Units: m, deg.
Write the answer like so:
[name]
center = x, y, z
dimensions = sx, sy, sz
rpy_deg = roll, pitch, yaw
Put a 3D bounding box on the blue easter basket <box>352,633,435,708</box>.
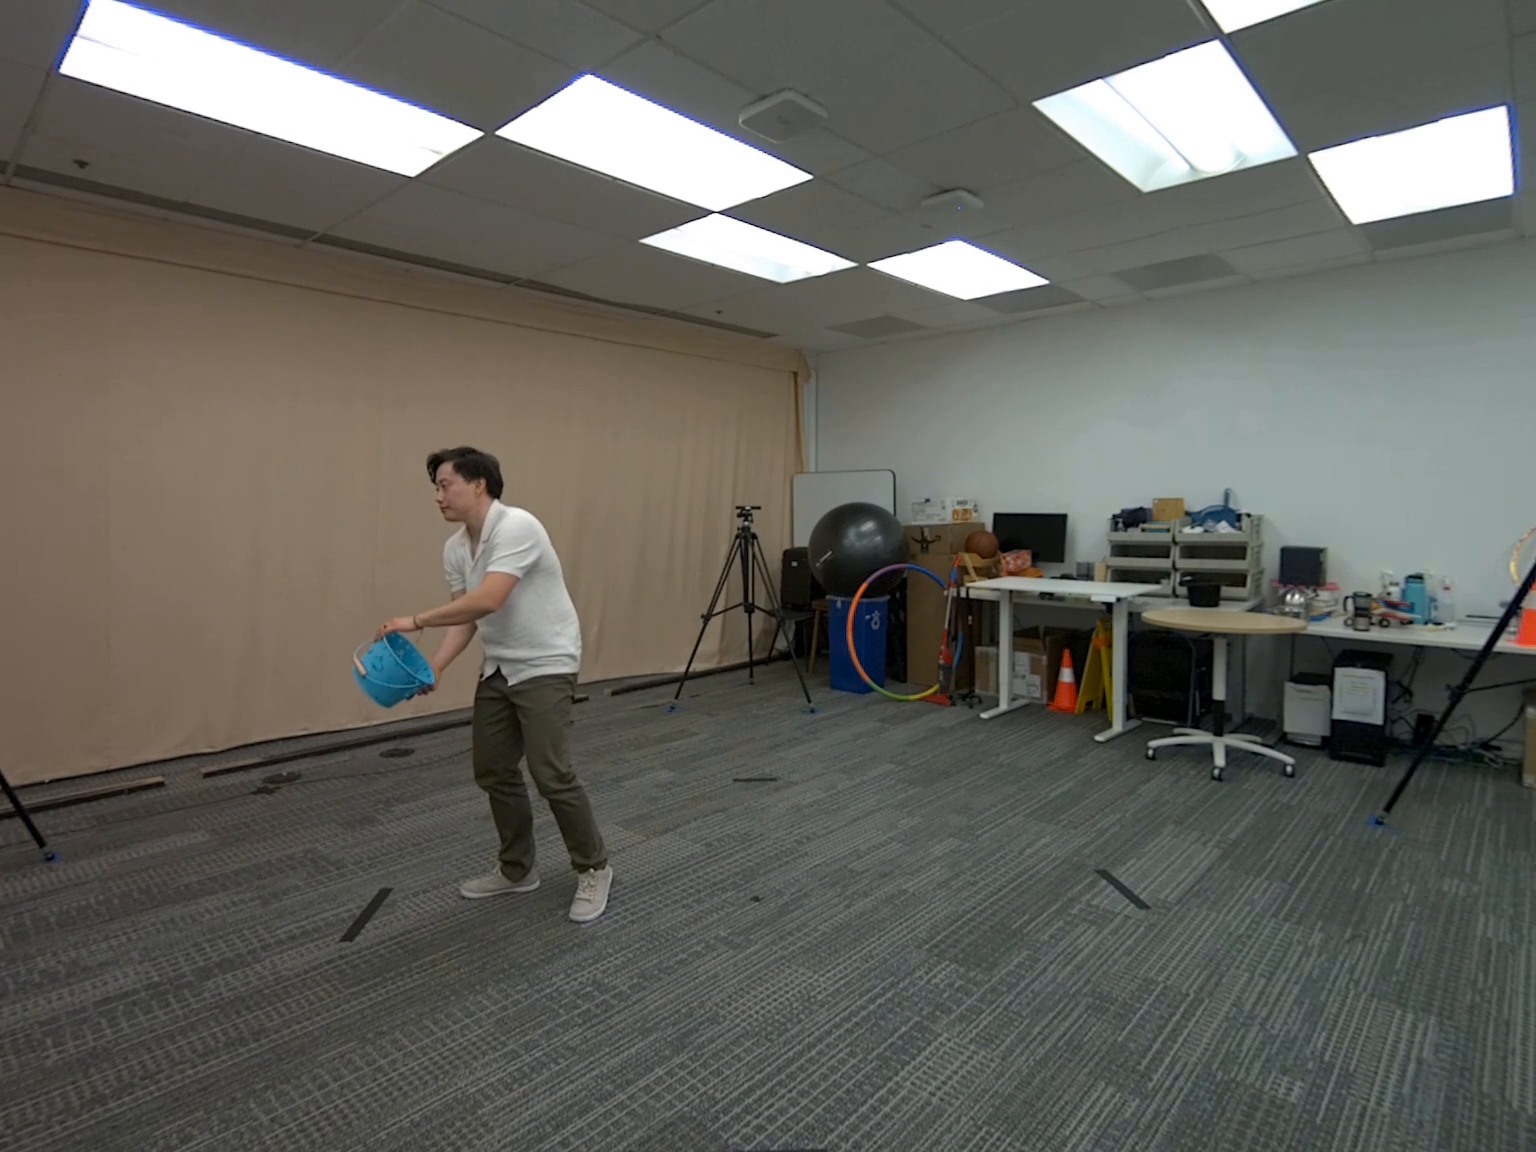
[blue easter basket]
center = -1.217, 0.304, 2.721
dimensions = 0.155, 0.241, 0.247
rpy_deg = -41, 10, -6
